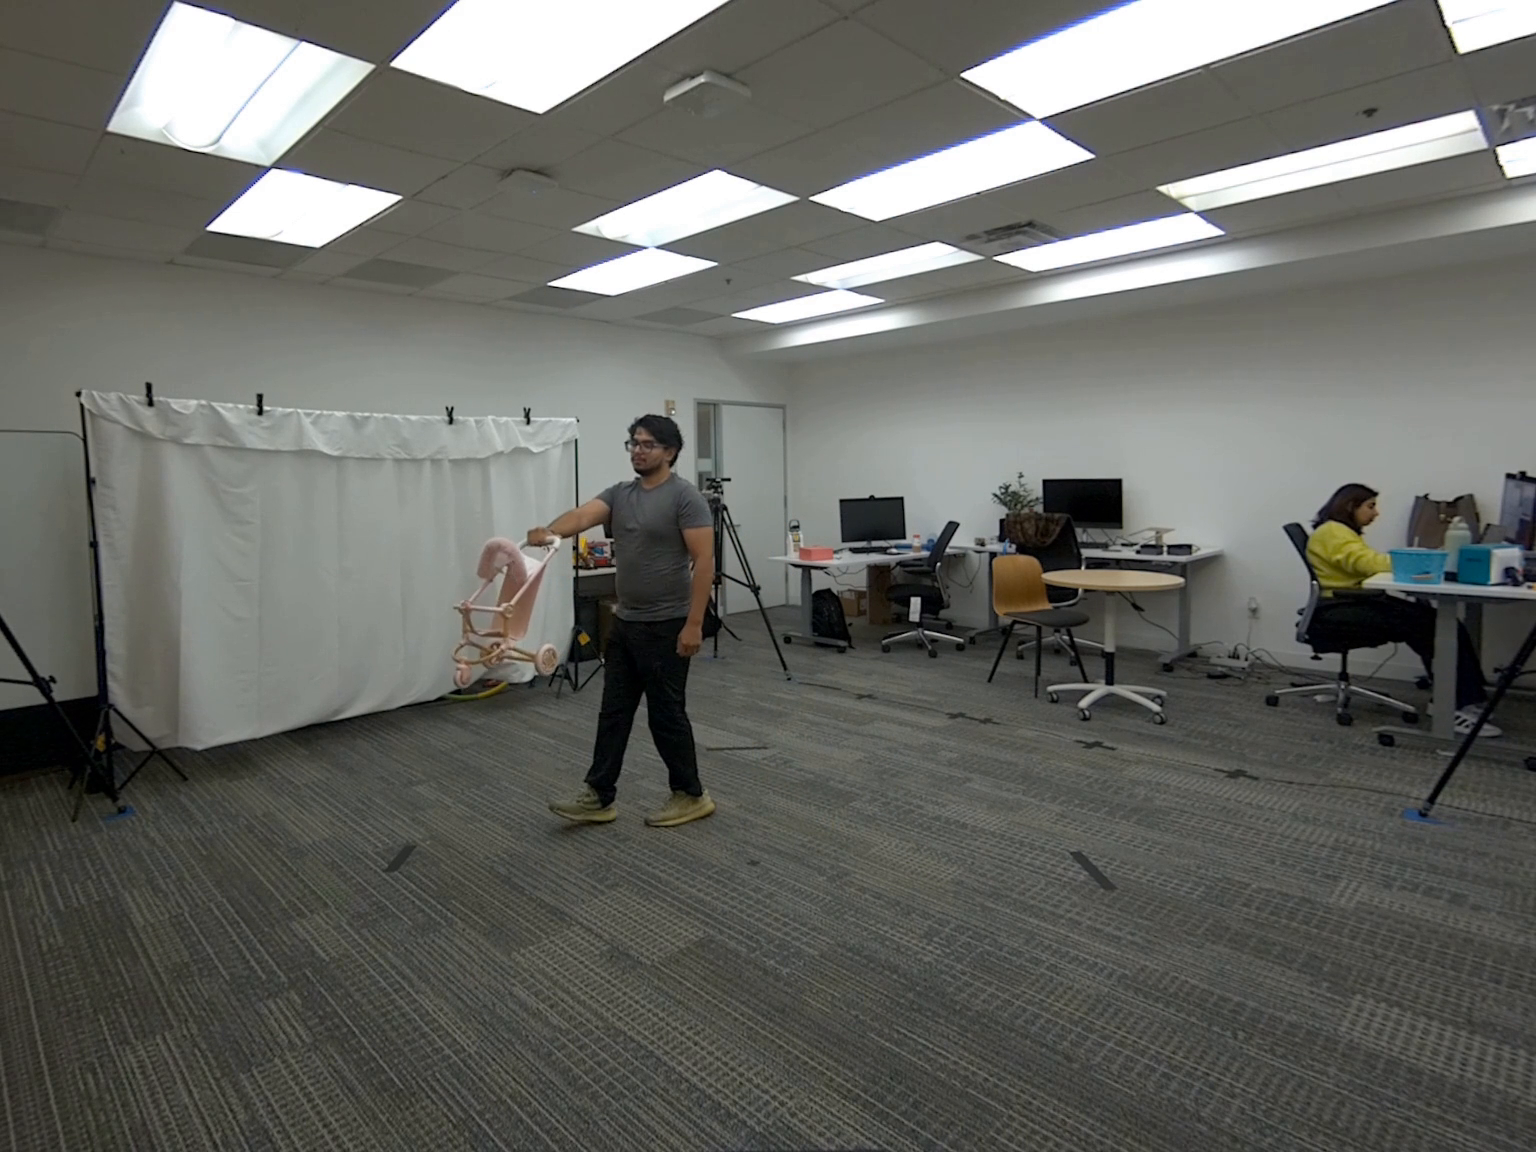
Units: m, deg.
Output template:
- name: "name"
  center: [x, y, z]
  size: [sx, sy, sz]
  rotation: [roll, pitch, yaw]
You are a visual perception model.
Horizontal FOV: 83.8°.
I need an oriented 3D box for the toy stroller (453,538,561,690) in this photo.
- name: "toy stroller"
  center: [-0.894, 0.112, 2.879]
  size: [0.289, 0.538, 0.330]
  rotation: [0, -7, 33]
